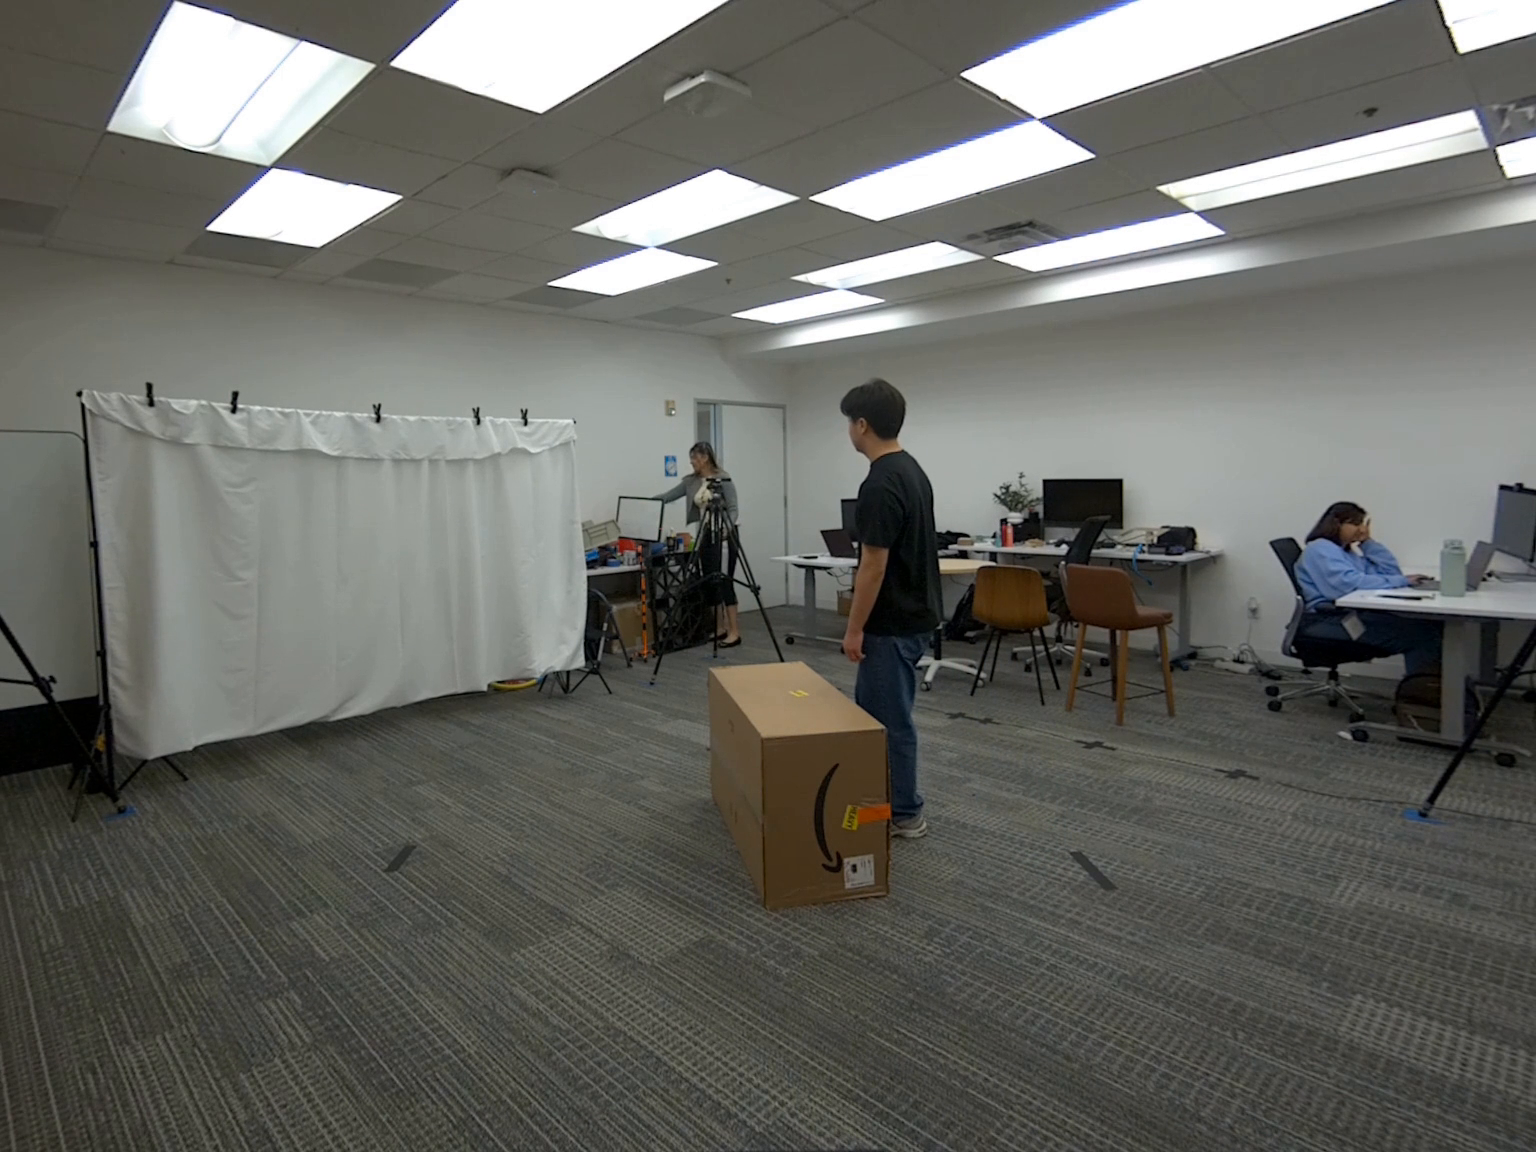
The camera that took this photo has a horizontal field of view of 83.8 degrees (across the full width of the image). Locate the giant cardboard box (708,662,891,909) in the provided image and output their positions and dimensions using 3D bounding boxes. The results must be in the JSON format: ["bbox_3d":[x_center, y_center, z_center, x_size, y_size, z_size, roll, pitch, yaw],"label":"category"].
[{"bbox_3d":[0.075,0.731,3.281,0.441,0.581,1.044,-1,6,-13],"label":"giant cardboard box"}]
